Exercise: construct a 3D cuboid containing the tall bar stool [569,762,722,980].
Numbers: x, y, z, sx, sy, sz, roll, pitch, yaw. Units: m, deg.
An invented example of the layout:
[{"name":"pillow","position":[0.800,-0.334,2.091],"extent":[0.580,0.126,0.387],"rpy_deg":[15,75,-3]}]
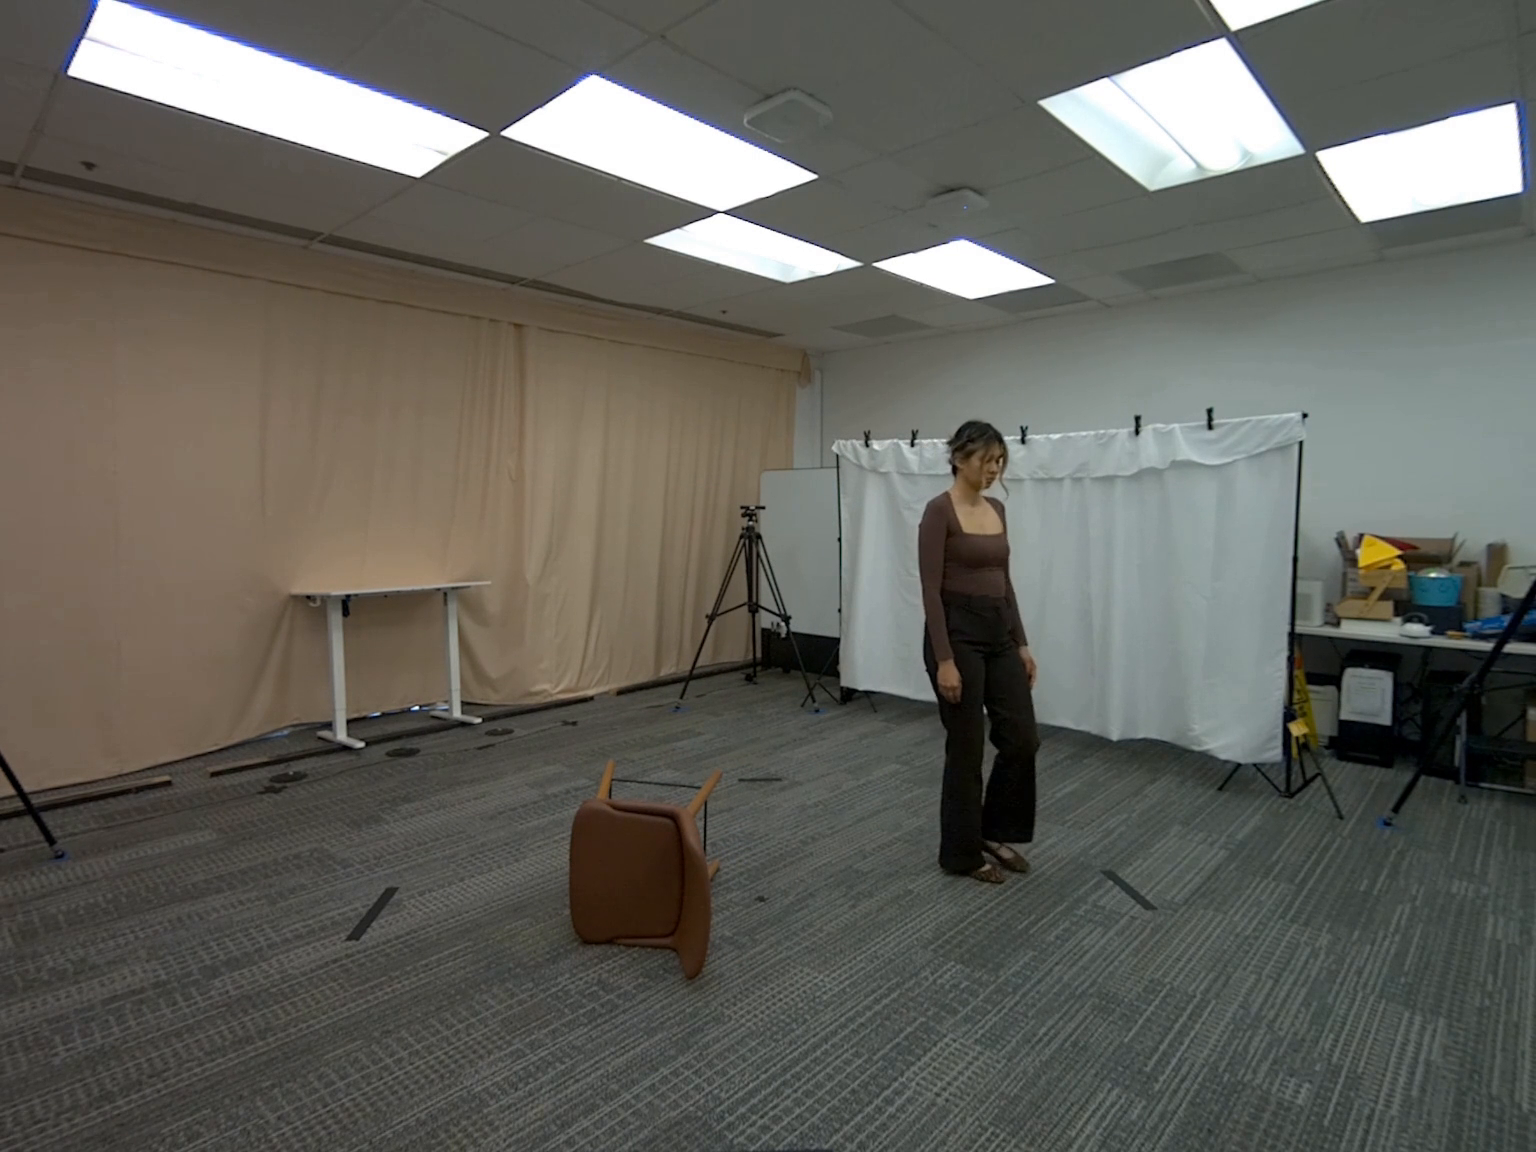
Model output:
[{"name":"tall bar stool","position":[-0.407,0.946,2.828],"extent":[0.468,0.456,0.890],"rpy_deg":[2,2,-1]}]
